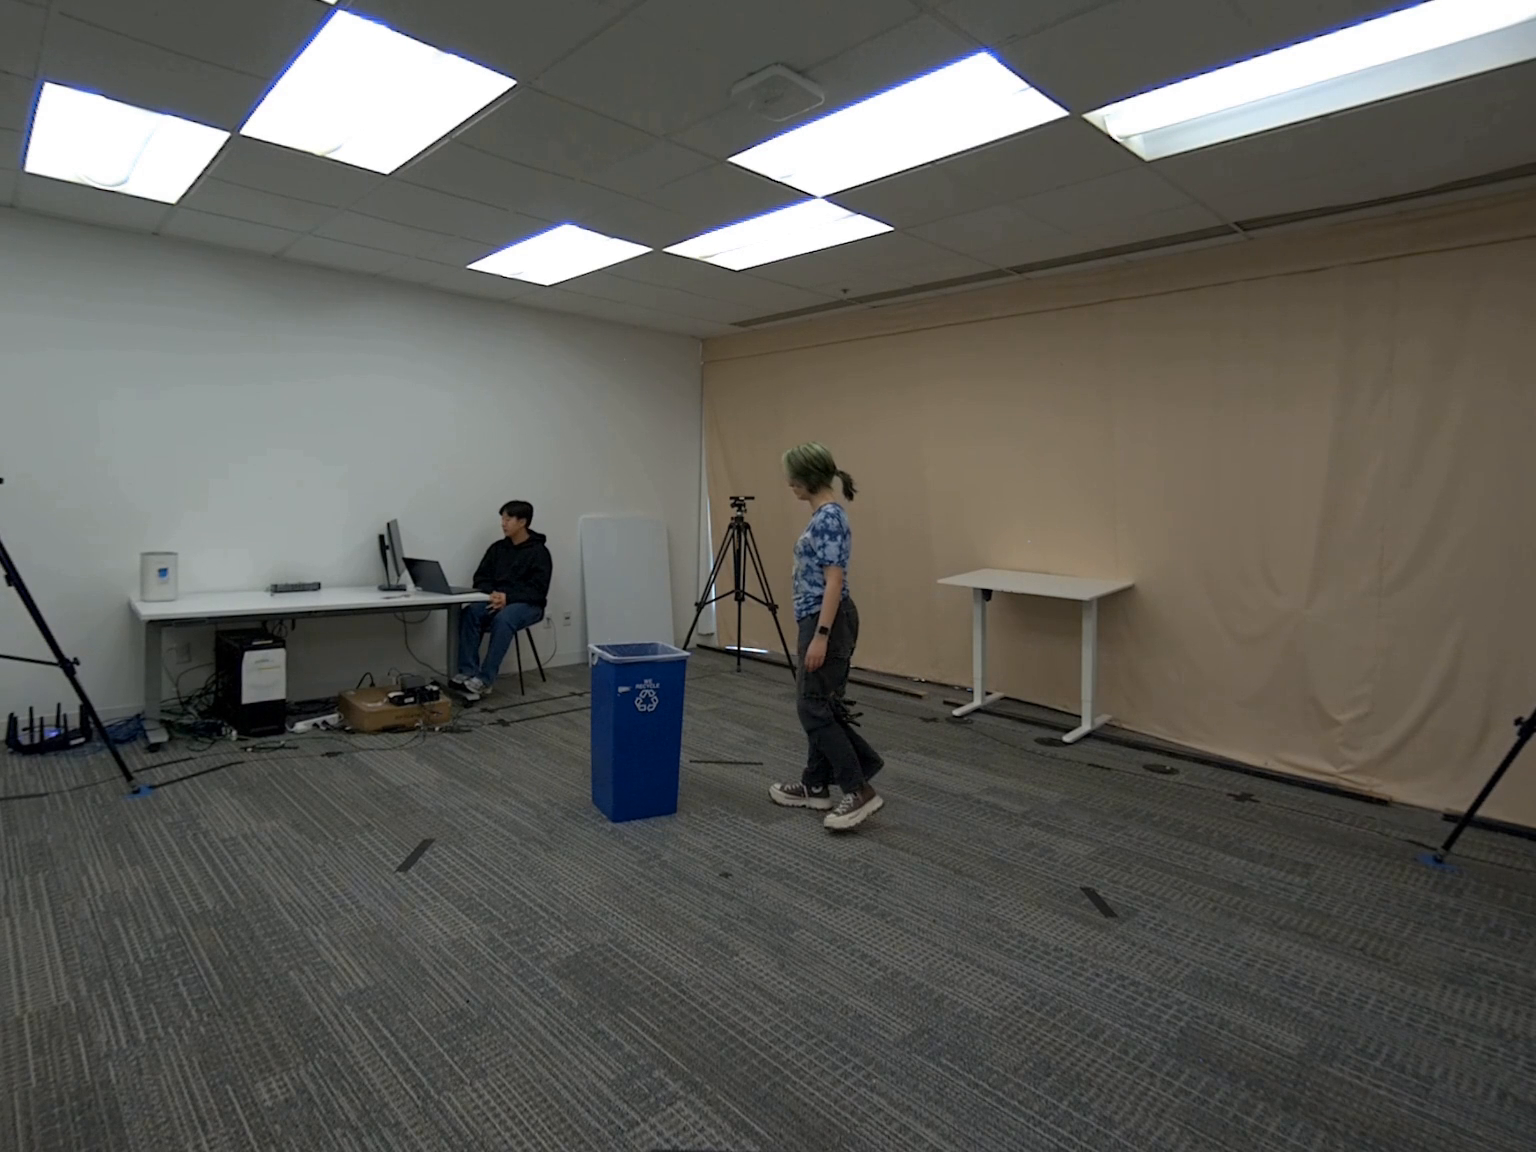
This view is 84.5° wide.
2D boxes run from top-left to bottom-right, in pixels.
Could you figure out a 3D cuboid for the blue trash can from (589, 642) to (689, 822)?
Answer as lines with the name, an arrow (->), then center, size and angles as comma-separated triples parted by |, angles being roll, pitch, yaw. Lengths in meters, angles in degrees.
blue trash can -> -0.594, 0.679, 3.760 | 0.366, 0.712, 0.386 | 0, 4, -30
